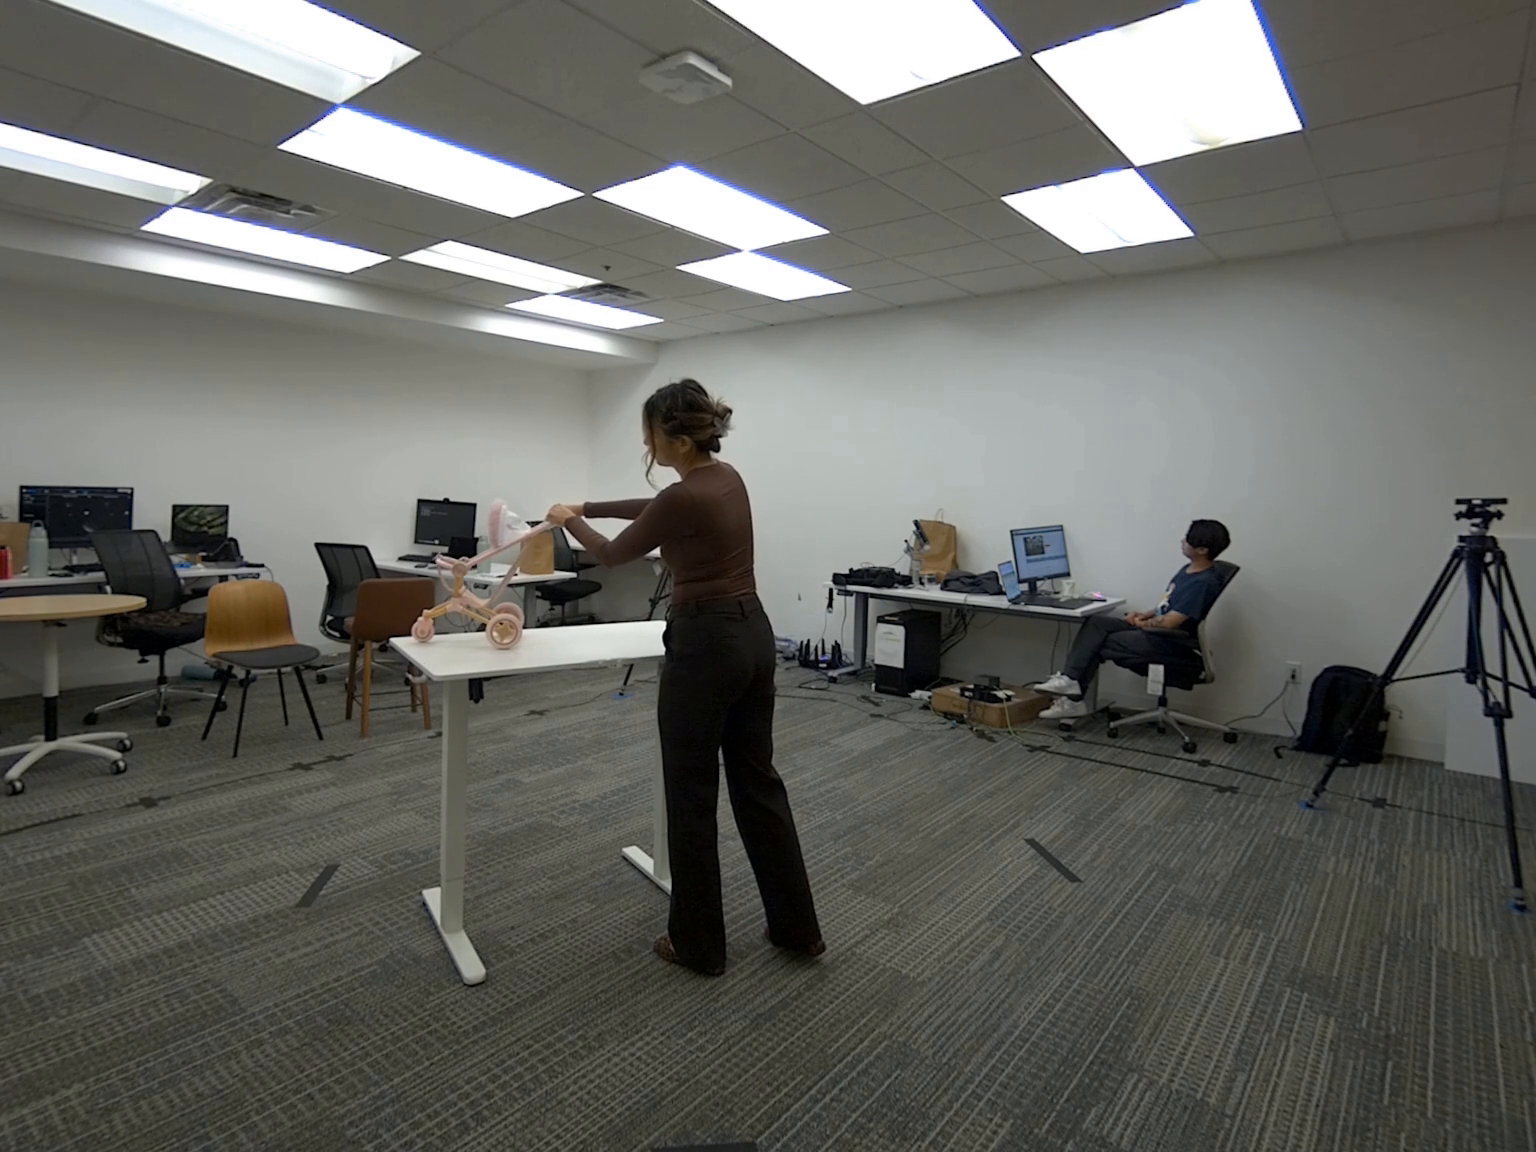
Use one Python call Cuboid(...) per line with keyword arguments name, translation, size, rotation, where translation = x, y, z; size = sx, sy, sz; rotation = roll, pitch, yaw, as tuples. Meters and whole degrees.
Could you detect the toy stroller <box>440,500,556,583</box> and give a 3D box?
Cuboid(name="toy stroller", translation=(-0.911, -0.005, 2.714), size=(0.337, 0.535, 0.285), rotation=(16, 0, -10))
